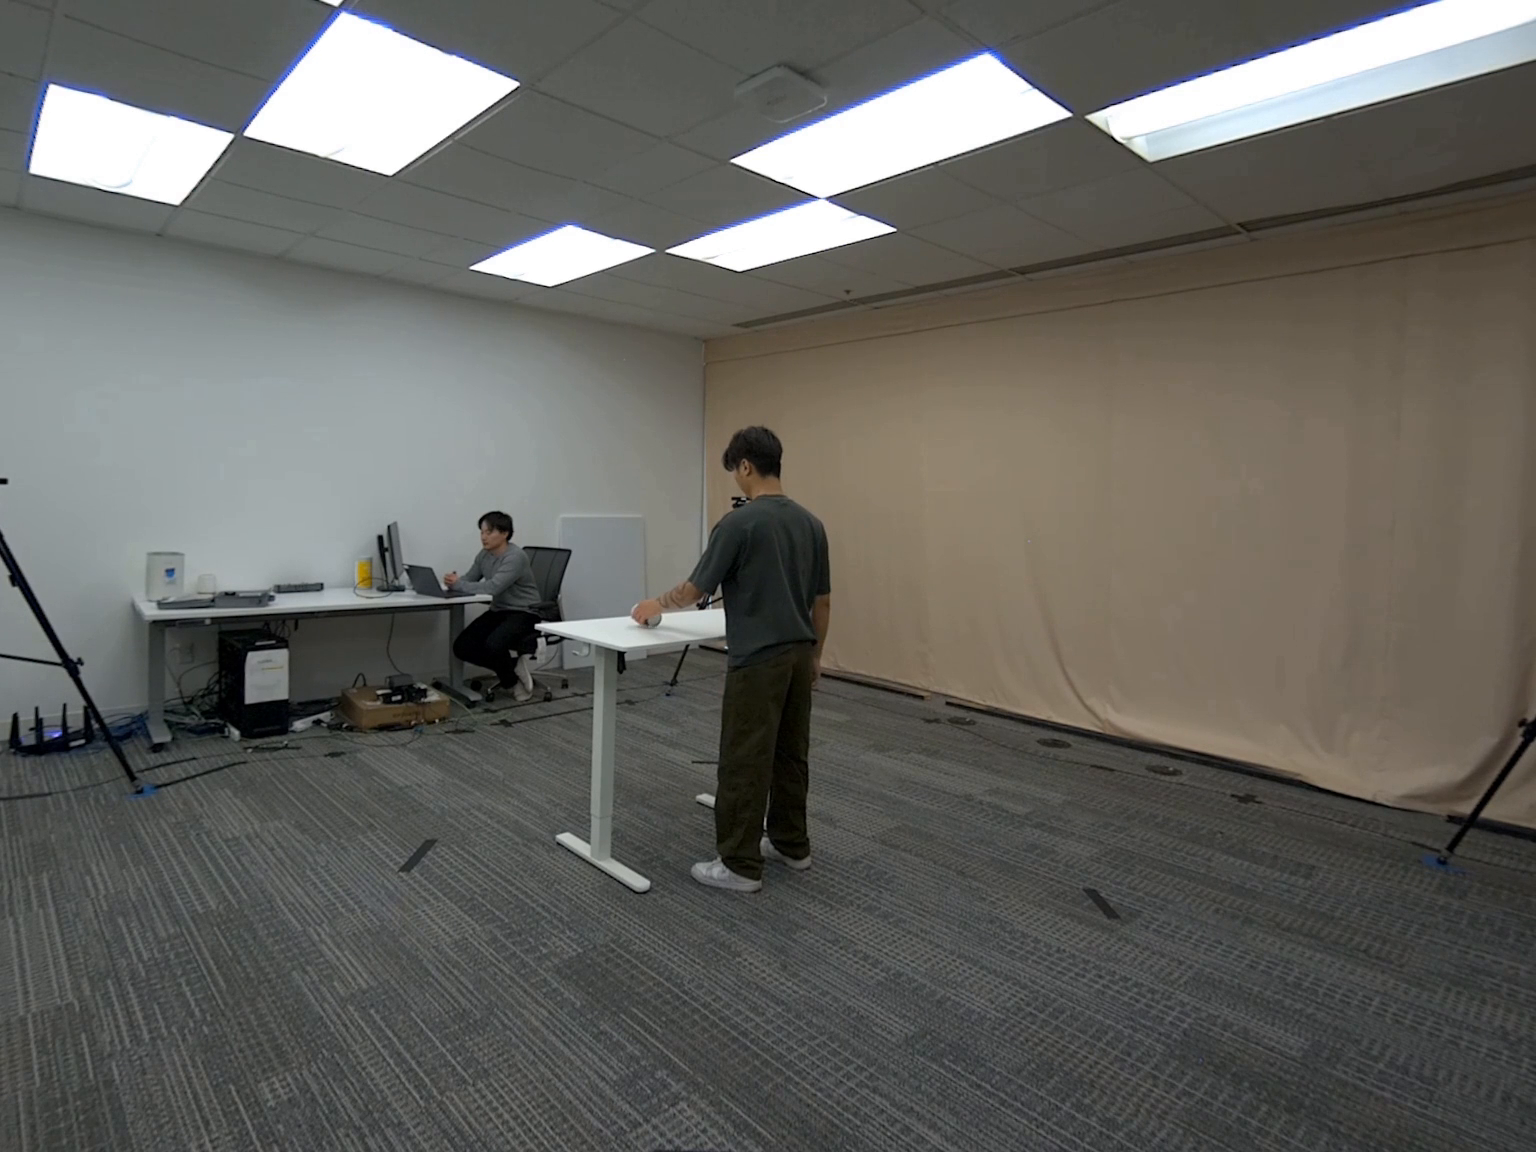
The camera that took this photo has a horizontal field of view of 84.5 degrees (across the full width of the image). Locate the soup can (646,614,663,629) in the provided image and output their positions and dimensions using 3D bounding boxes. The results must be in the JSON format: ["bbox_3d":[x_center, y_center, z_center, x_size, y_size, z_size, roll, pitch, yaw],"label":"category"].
[{"bbox_3d":[-0.465,0.153,3.288,0.125,0.067,0.065,13,10,37],"label":"soup can"}]
